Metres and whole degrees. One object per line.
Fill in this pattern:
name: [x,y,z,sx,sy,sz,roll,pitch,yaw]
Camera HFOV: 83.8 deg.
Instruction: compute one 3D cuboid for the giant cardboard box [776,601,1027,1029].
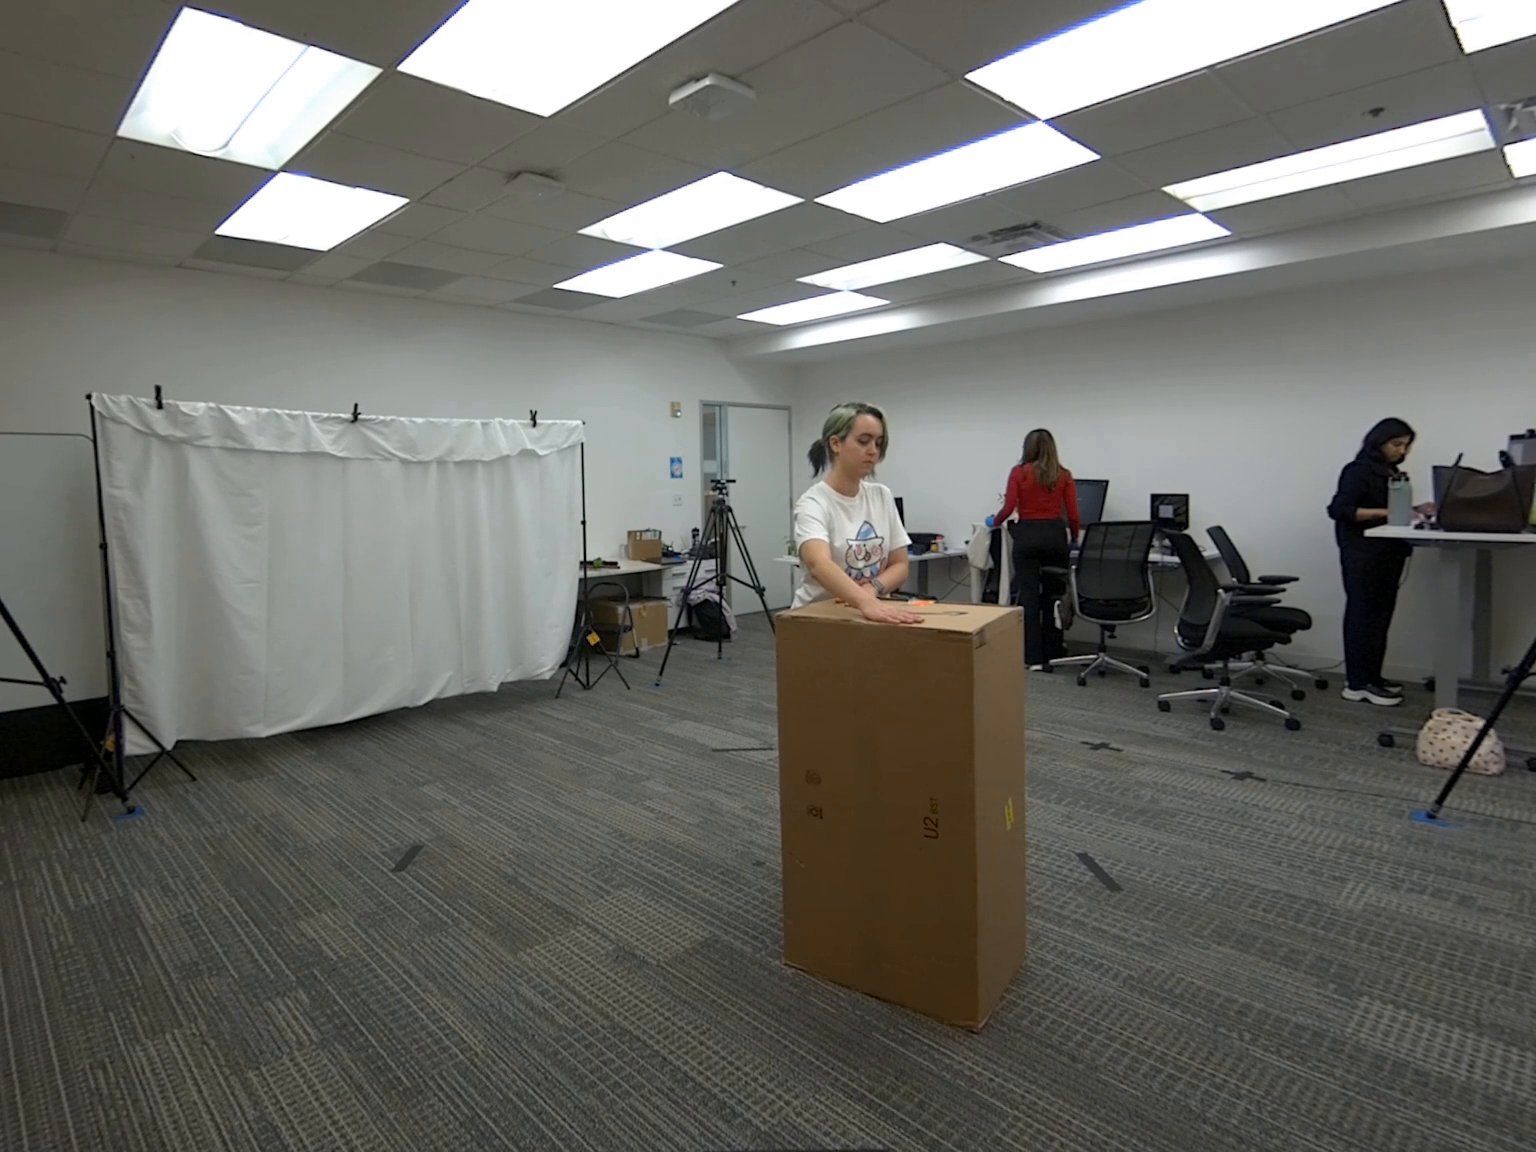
giant cardboard box: [0.391,0.613,2.437,0.600,1.023,0.436,1,5,33]
